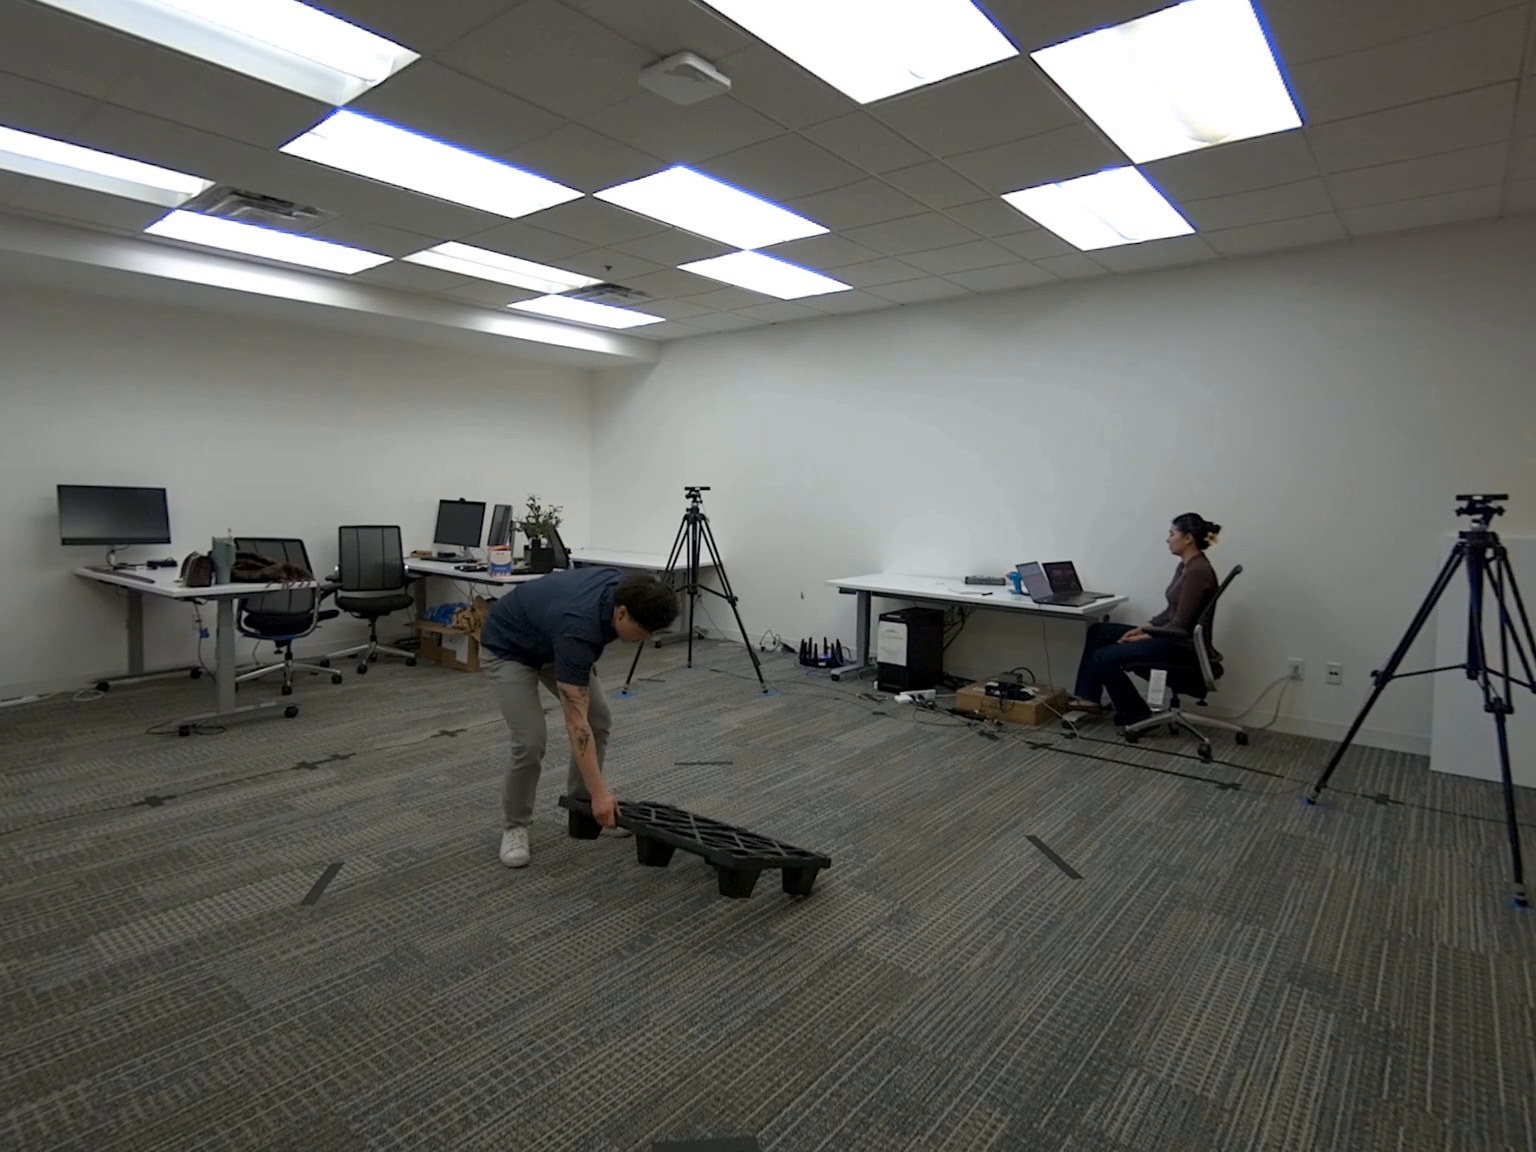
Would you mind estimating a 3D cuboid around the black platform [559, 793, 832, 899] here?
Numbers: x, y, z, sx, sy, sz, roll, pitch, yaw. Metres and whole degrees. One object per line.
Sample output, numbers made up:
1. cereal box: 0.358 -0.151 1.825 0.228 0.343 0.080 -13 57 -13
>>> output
1. black platform: -0.279 0.941 2.970 0.832 0.144 0.581 5 -12 37
